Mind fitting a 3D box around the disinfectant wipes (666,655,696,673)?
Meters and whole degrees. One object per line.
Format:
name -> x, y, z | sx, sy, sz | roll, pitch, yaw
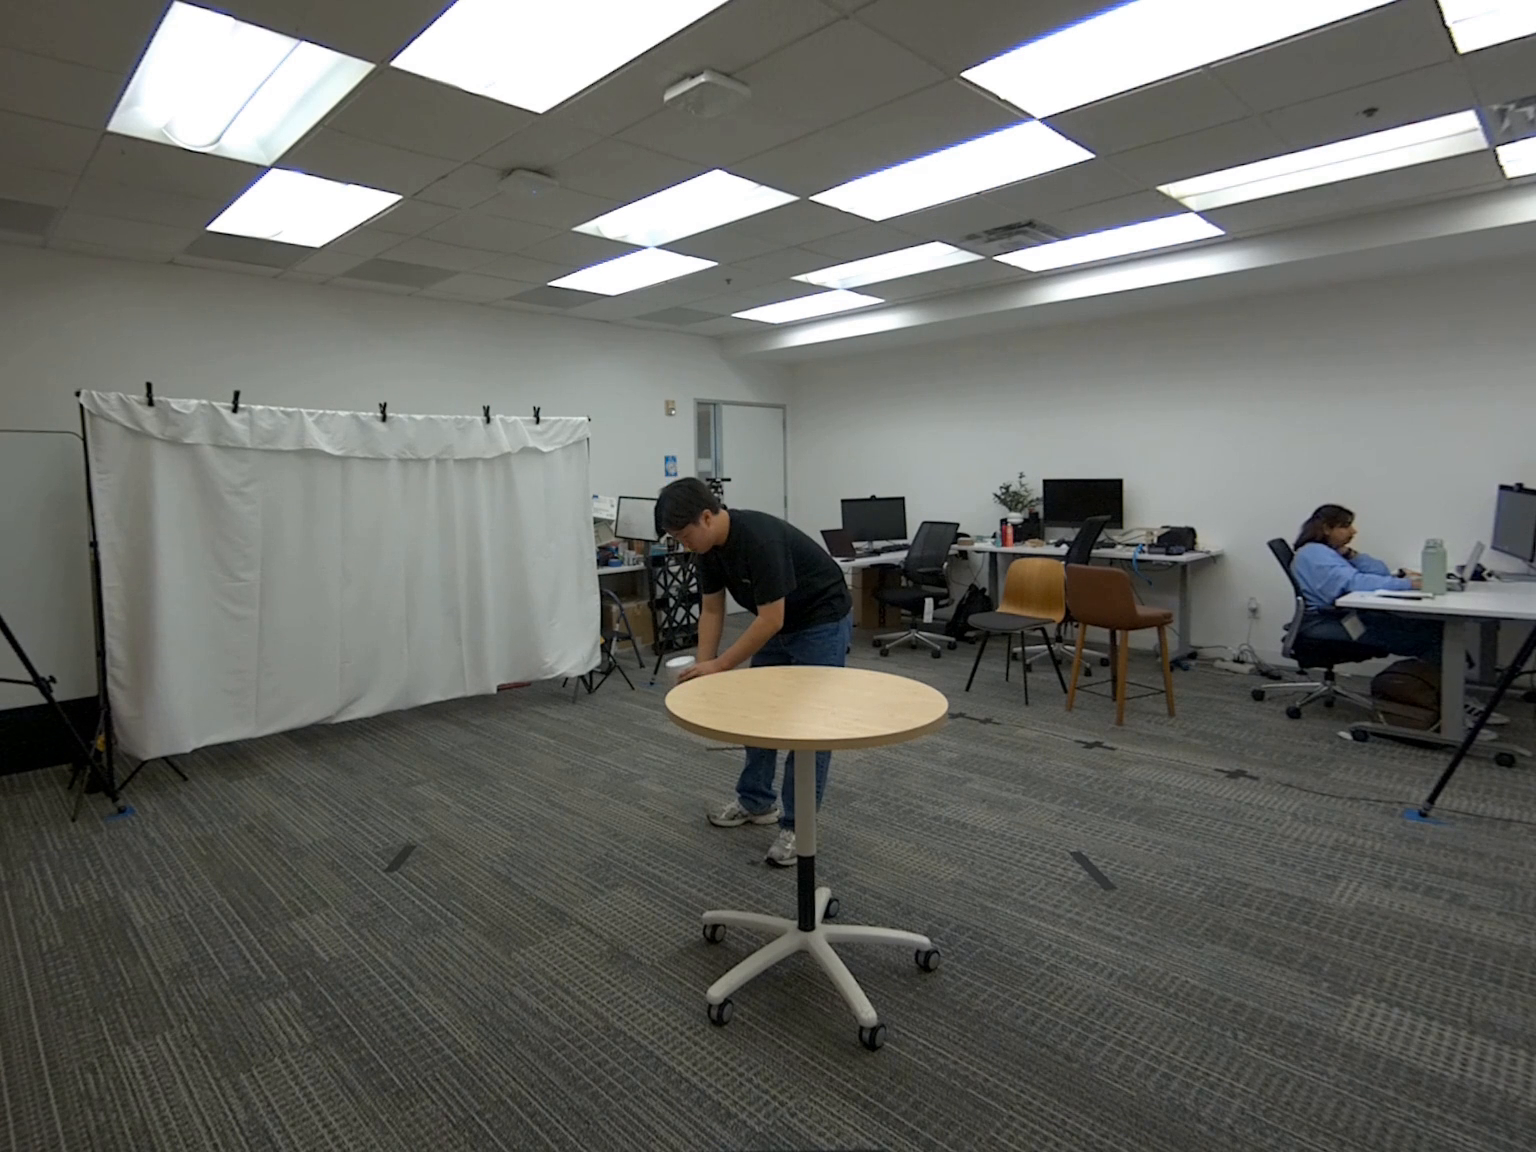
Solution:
disinfectant wipes -> -0.296, 0.408, 3.088 | 0.118, 0.216, 0.118 | -12, 6, 0
